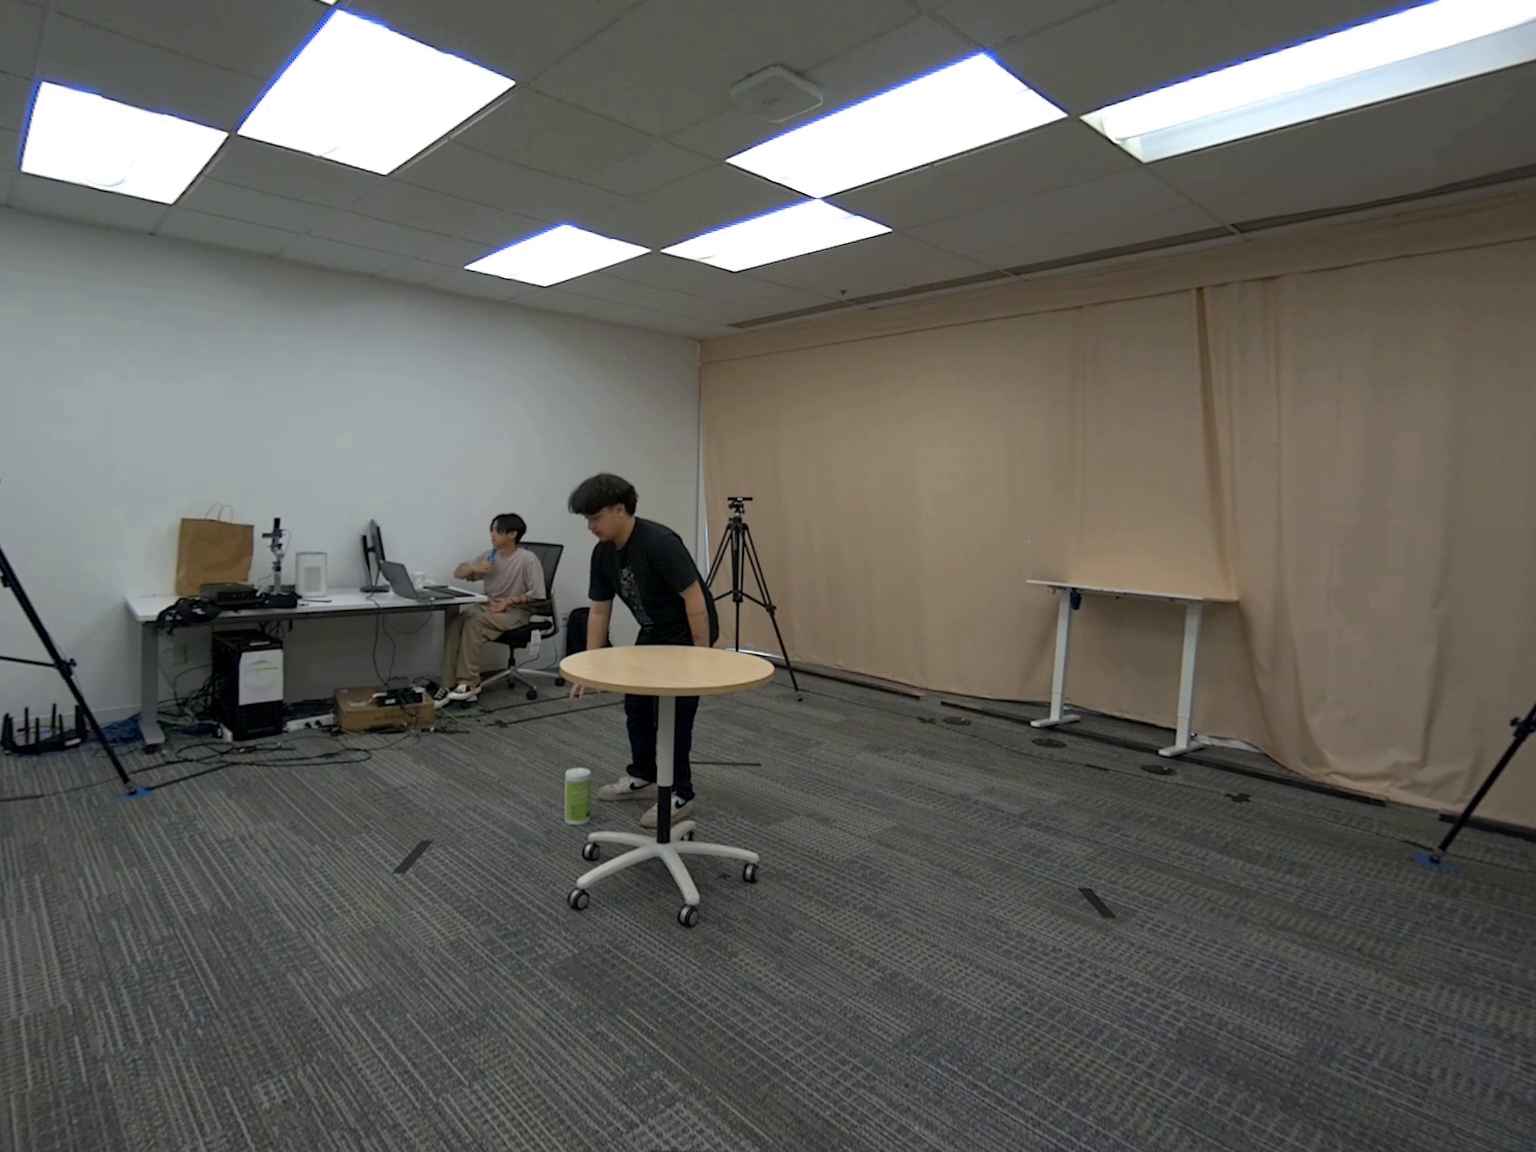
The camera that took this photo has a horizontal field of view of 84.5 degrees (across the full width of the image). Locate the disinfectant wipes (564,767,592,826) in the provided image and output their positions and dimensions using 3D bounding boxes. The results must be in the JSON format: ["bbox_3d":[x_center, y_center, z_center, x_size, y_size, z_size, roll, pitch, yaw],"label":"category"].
[{"bbox_3d":[-0.820,0.938,3.605,0.118,0.217,0.118,2,5,-2],"label":"disinfectant wipes"}]
